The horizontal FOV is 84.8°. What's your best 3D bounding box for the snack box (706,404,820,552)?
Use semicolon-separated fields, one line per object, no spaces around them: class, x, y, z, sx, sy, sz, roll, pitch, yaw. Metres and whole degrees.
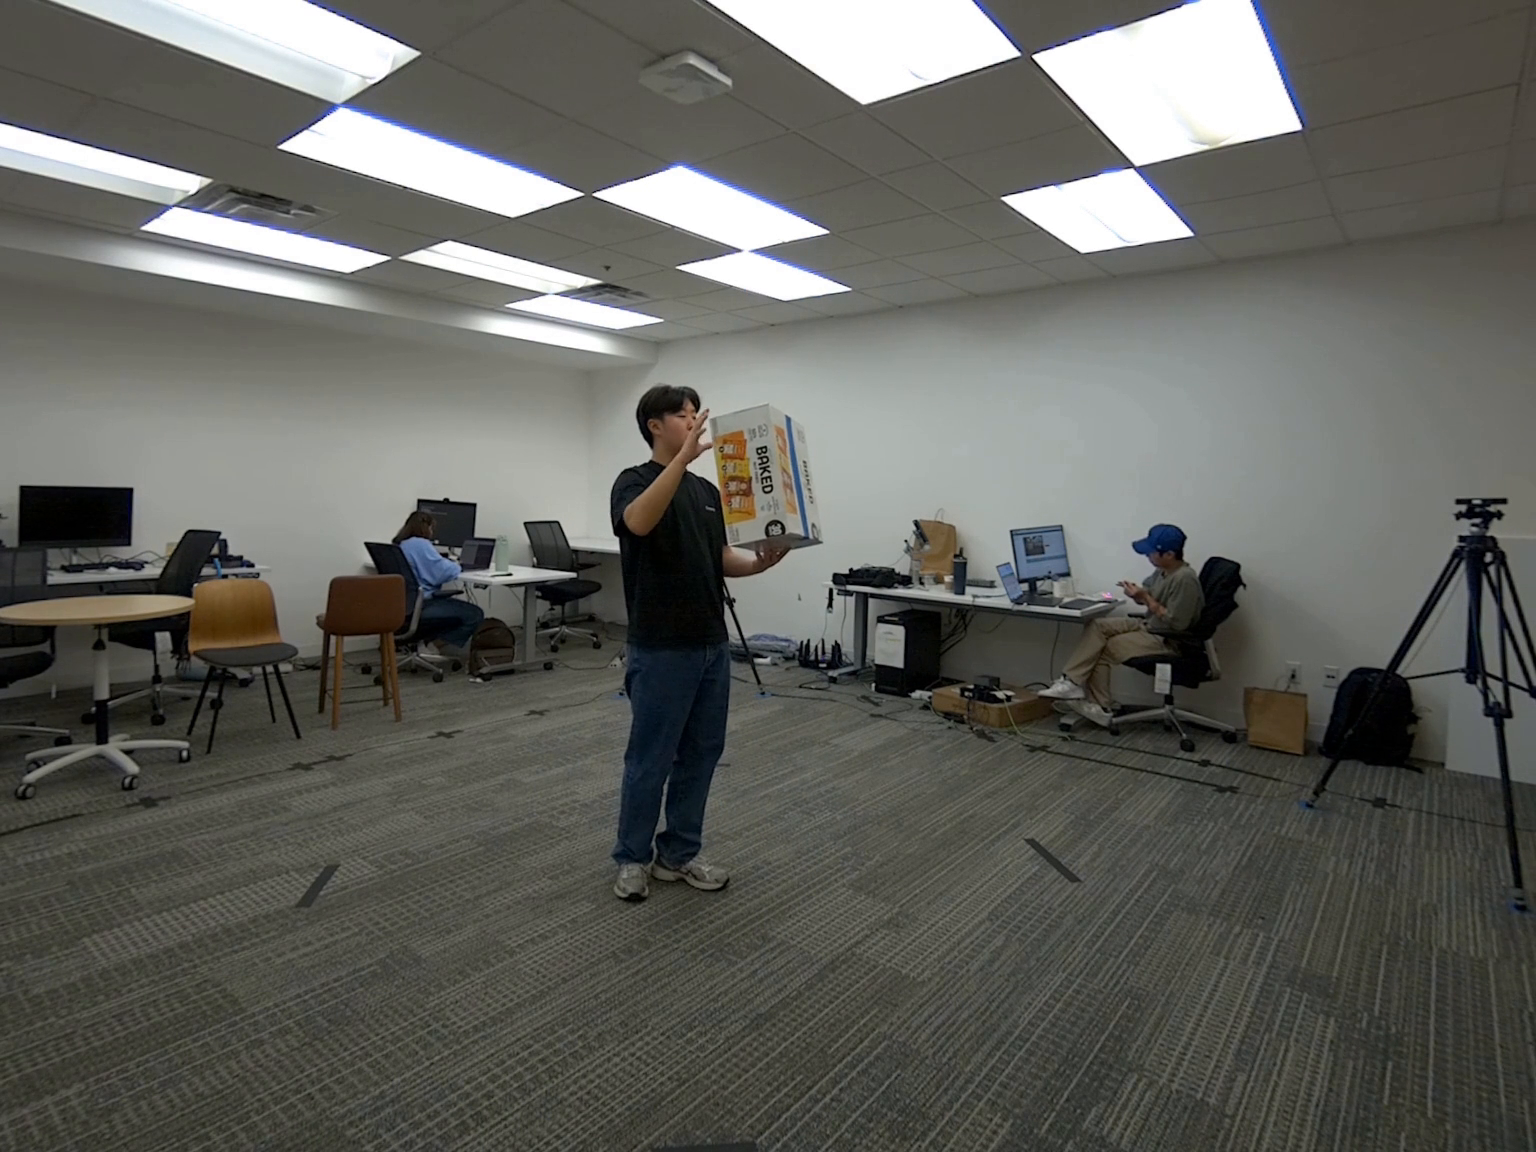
snack box;-0.013;-0.298;2.710;0.209;0.409;0.331;-11;-8;21
